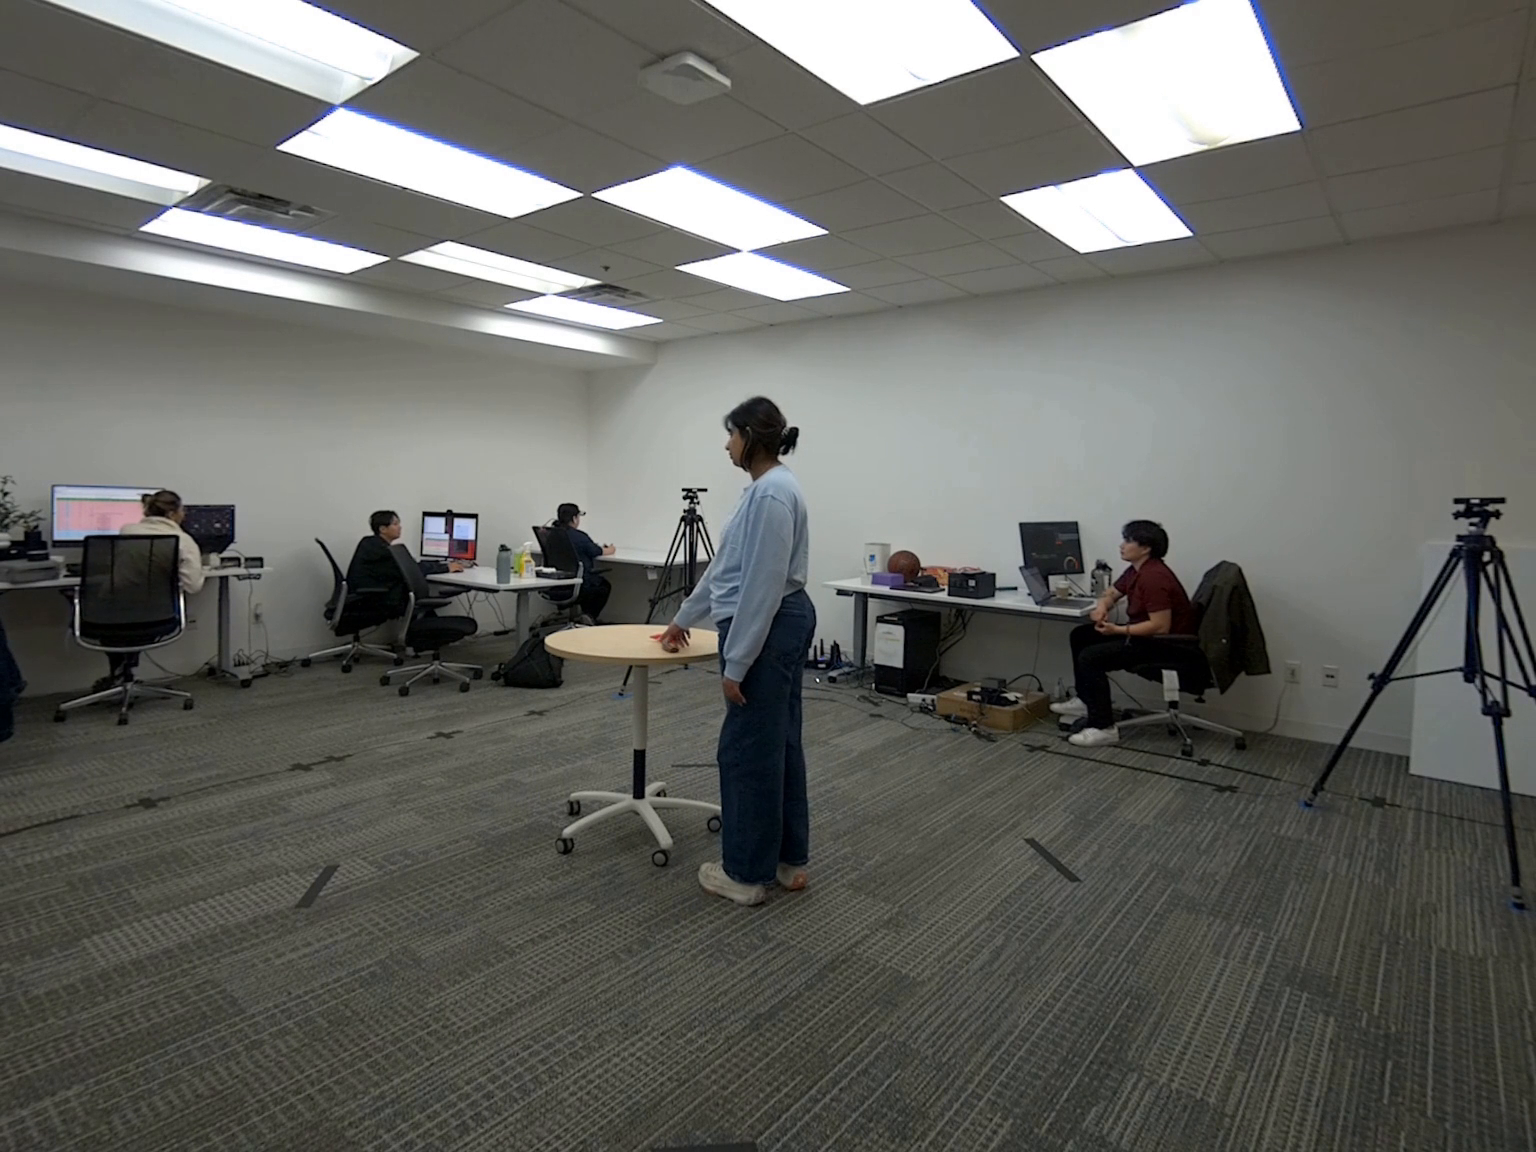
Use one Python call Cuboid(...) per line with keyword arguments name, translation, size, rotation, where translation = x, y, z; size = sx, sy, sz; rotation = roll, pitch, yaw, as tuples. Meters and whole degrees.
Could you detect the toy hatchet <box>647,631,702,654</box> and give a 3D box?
Cuboid(name="toy hatchet", translation=(-0.370, 0.255, 3.280), size=(0.128, 0.029, 0.277), rotation=(4, 5, -24))
